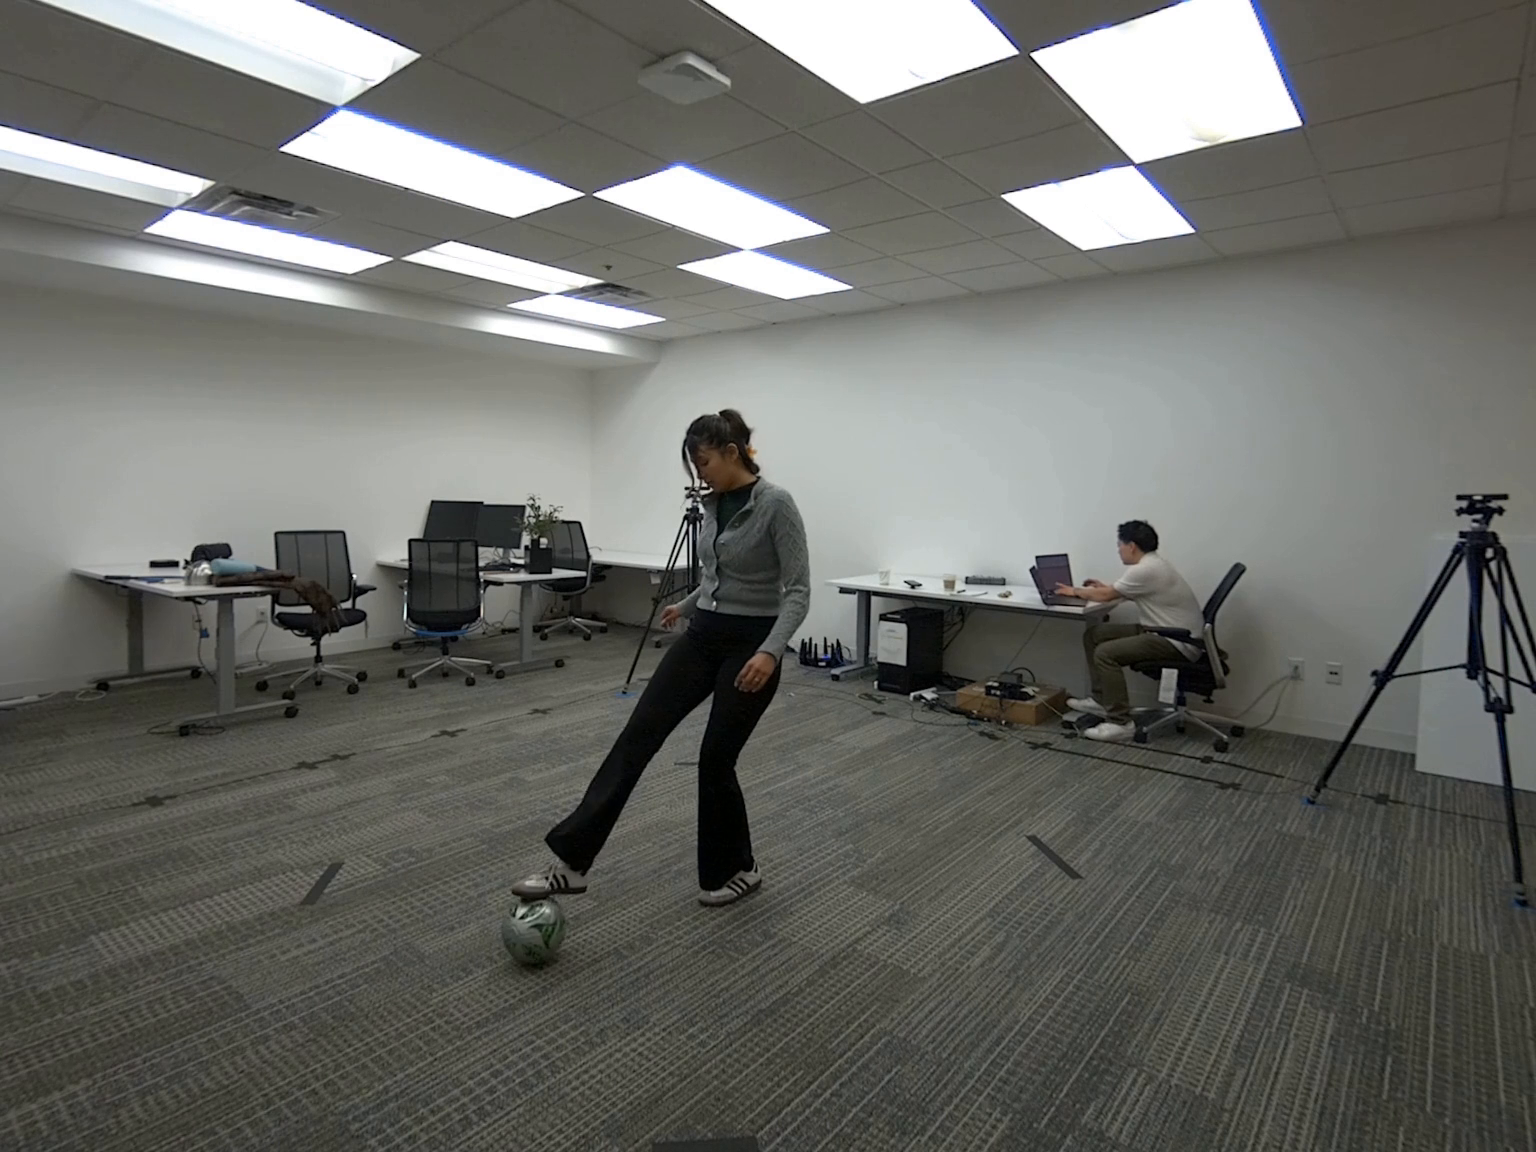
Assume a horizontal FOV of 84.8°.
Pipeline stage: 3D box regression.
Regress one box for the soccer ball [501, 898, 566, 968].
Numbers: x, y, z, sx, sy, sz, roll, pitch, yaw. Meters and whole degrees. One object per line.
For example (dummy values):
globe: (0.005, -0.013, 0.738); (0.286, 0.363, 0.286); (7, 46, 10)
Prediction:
soccer ball: (-0.673, 1.031, 2.518); (0.187, 0.187, 0.188); (1, 4, -2)
